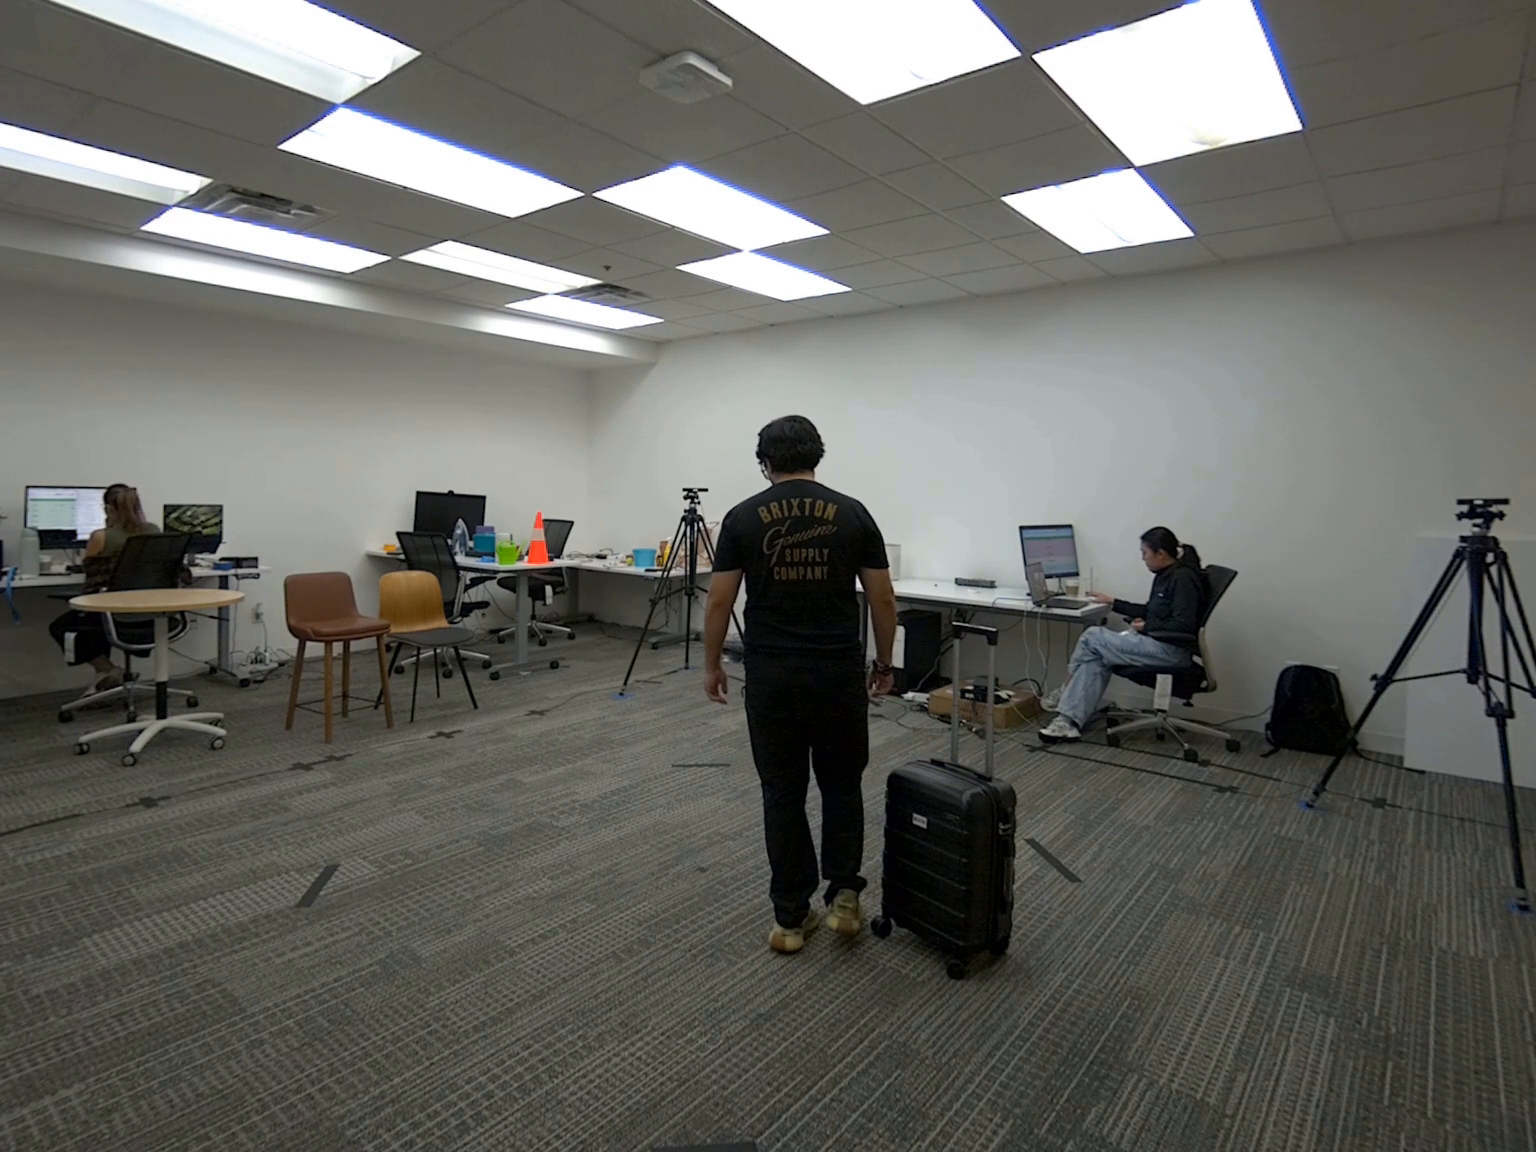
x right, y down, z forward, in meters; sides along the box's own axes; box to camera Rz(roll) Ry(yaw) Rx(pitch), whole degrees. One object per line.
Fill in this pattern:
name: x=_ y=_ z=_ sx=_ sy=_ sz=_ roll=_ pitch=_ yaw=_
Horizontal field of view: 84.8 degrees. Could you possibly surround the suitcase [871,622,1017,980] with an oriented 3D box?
suitcase: x=0.561 y=0.657 z=2.602 sx=0.249 sy=0.975 sz=0.397 roll=-2 pitch=5 yaw=-38
